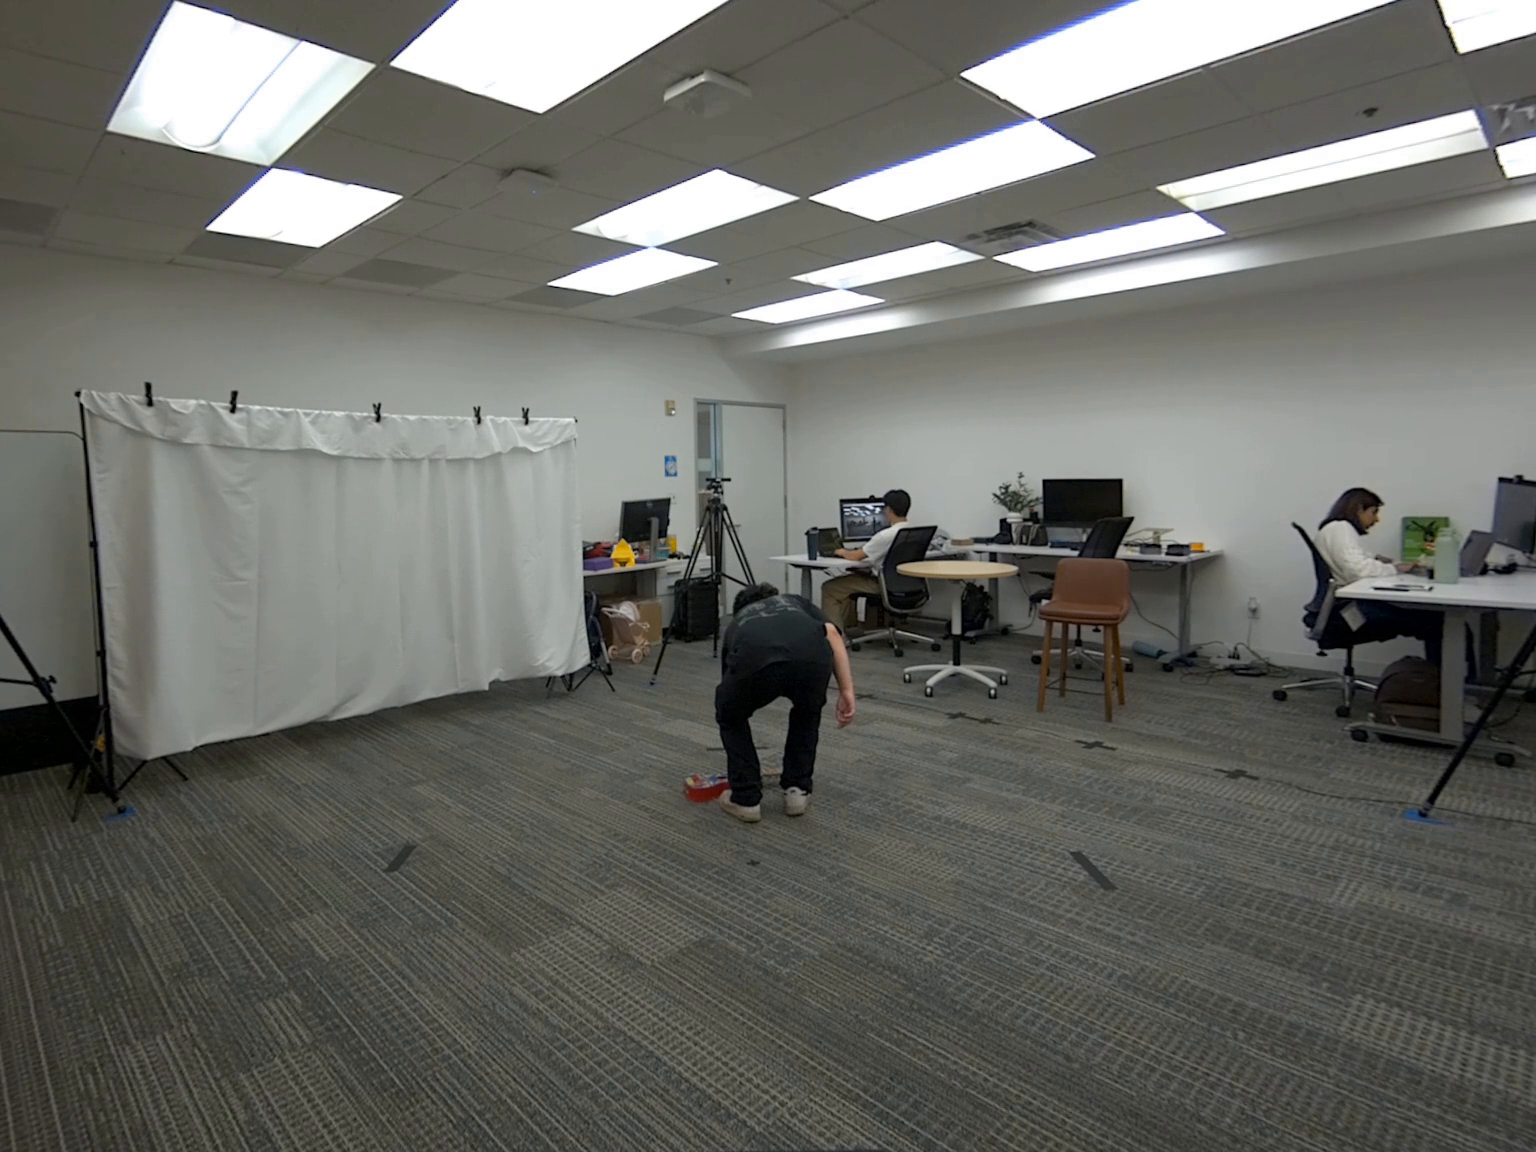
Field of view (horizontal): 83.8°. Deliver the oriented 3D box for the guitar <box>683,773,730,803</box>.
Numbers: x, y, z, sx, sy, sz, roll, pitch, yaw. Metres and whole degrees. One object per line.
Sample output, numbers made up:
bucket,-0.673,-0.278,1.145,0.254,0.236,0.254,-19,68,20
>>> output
guitar,-0.126,0.926,3.819,0.494,0.070,0.195,-2,5,-7
